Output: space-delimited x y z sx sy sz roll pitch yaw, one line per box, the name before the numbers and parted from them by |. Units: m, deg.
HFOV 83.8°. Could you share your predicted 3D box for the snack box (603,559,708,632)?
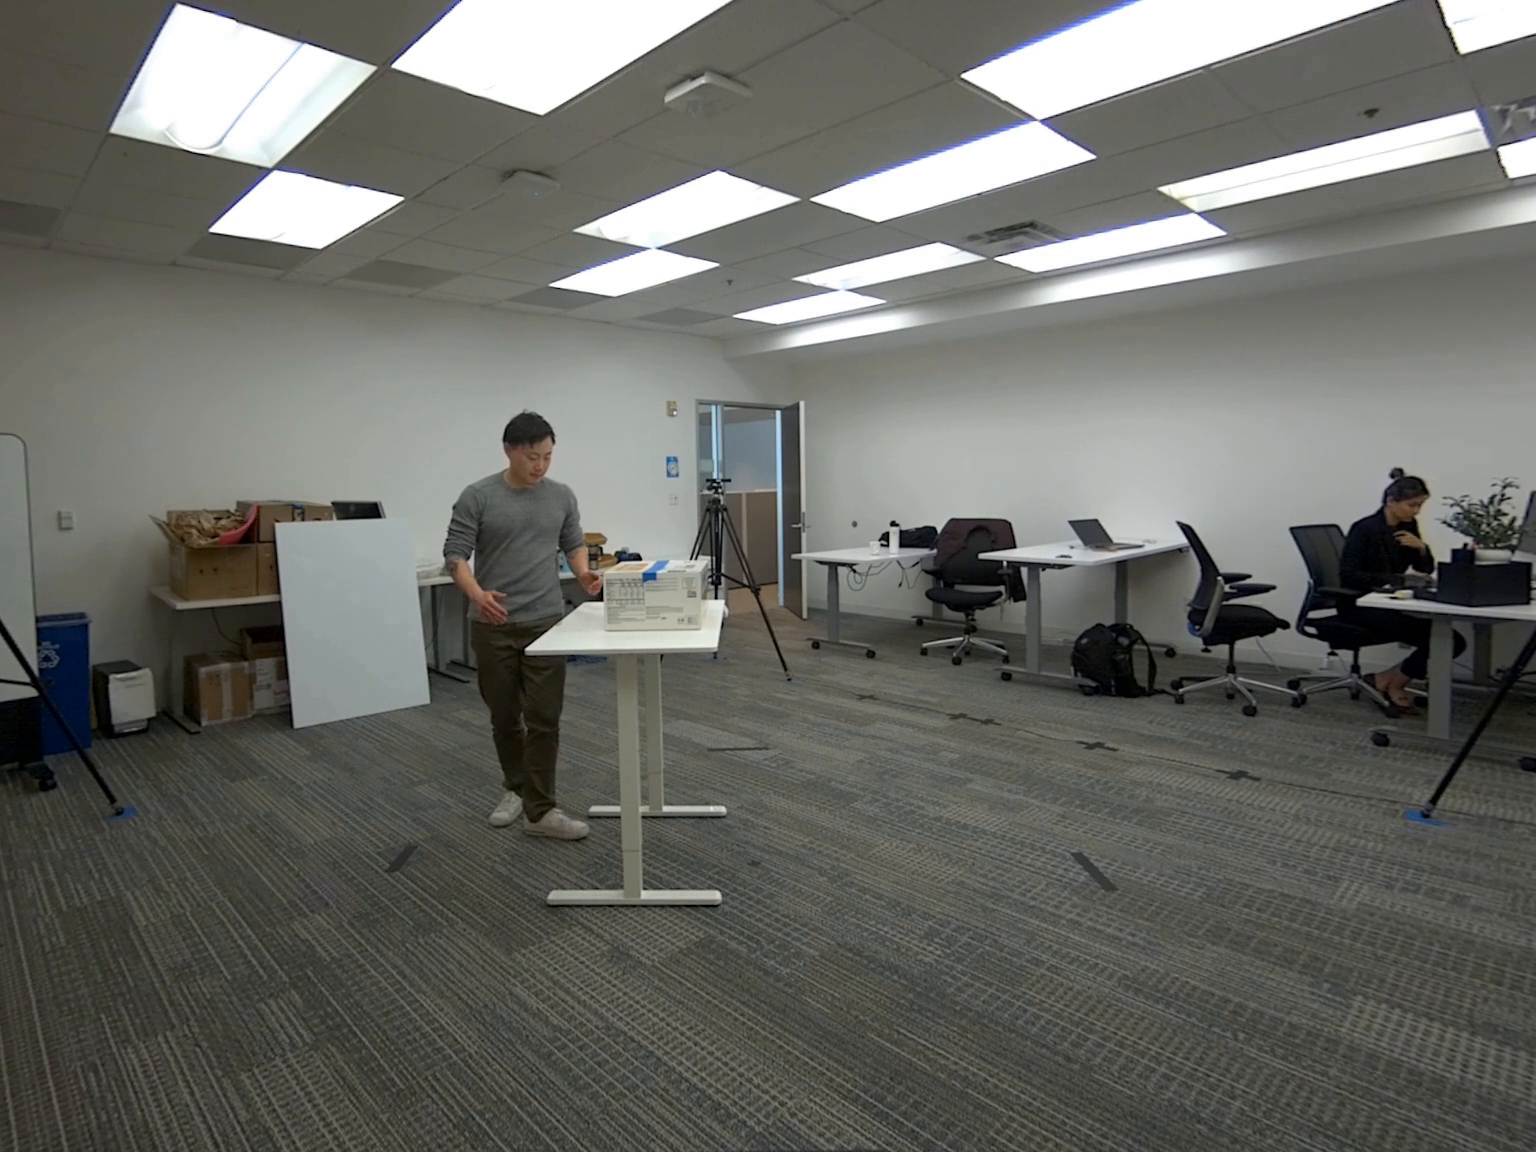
snack box | -0.404 0.065 3.140 0.341 0.205 0.406 -2 6 2
